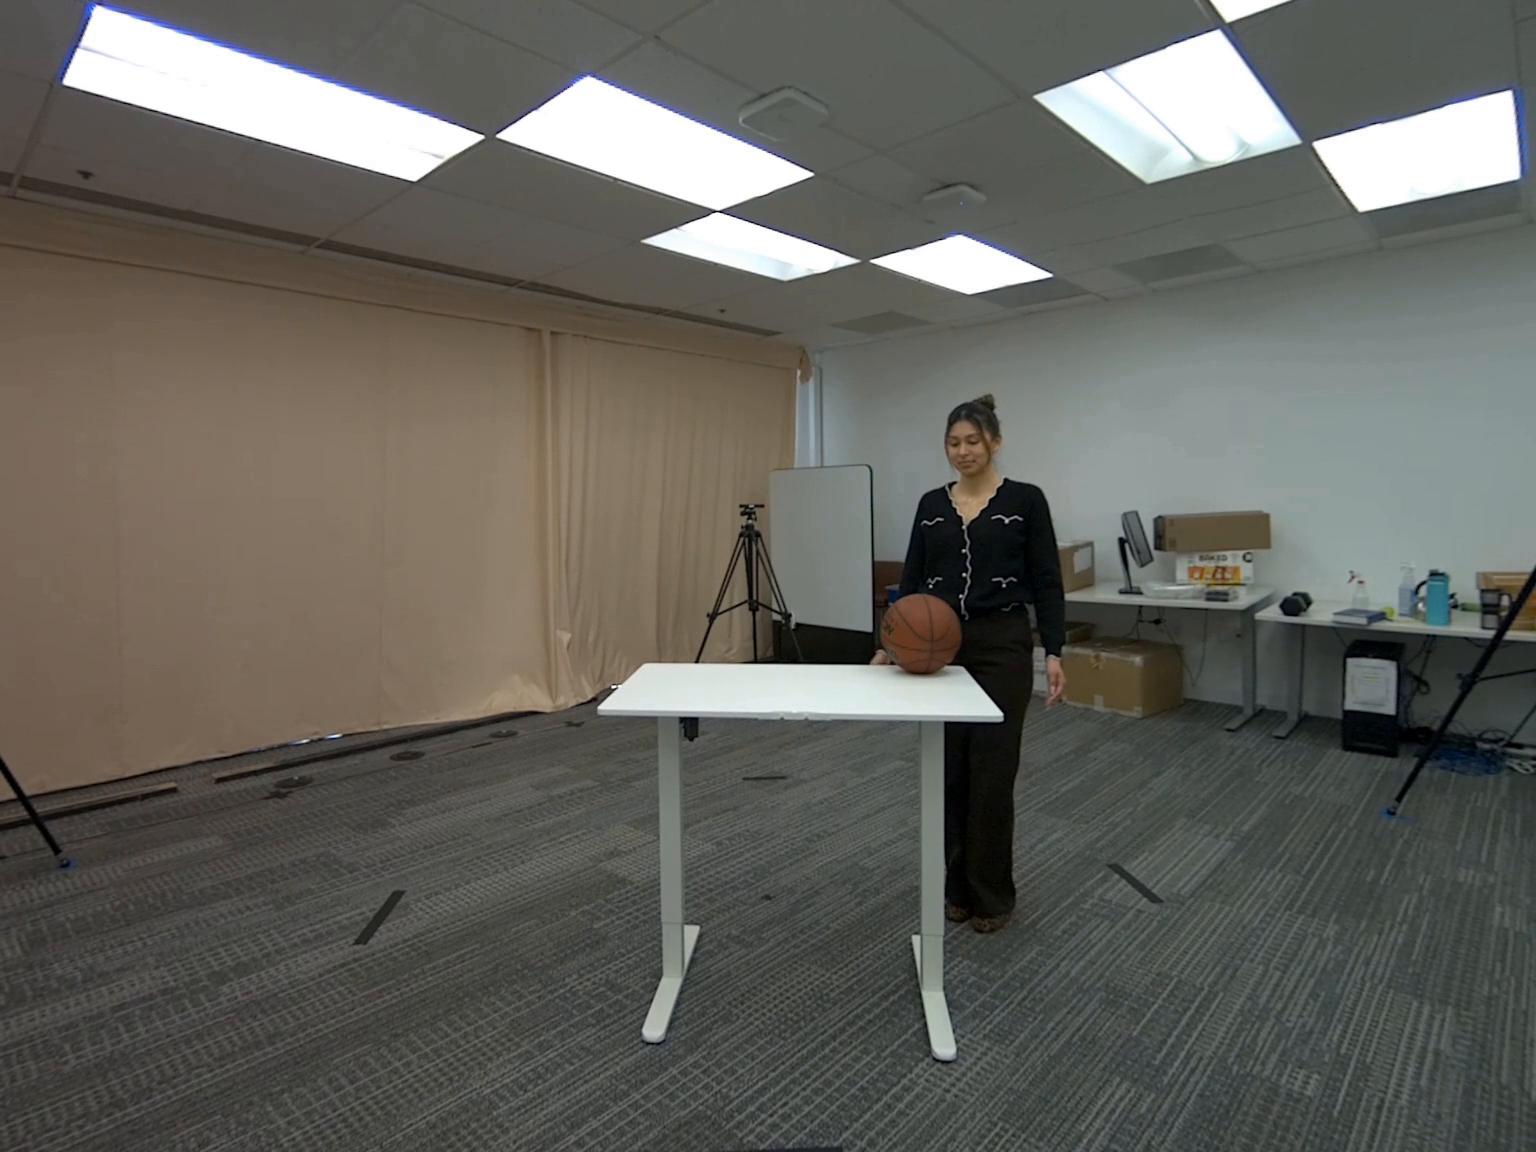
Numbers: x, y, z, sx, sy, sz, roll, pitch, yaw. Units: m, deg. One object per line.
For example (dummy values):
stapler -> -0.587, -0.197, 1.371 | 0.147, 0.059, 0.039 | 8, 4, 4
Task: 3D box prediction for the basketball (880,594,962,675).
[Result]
basketball -> 0.466, 0.174, 2.521 | 0.236, 0.235, 0.237 | -1, 4, -2
